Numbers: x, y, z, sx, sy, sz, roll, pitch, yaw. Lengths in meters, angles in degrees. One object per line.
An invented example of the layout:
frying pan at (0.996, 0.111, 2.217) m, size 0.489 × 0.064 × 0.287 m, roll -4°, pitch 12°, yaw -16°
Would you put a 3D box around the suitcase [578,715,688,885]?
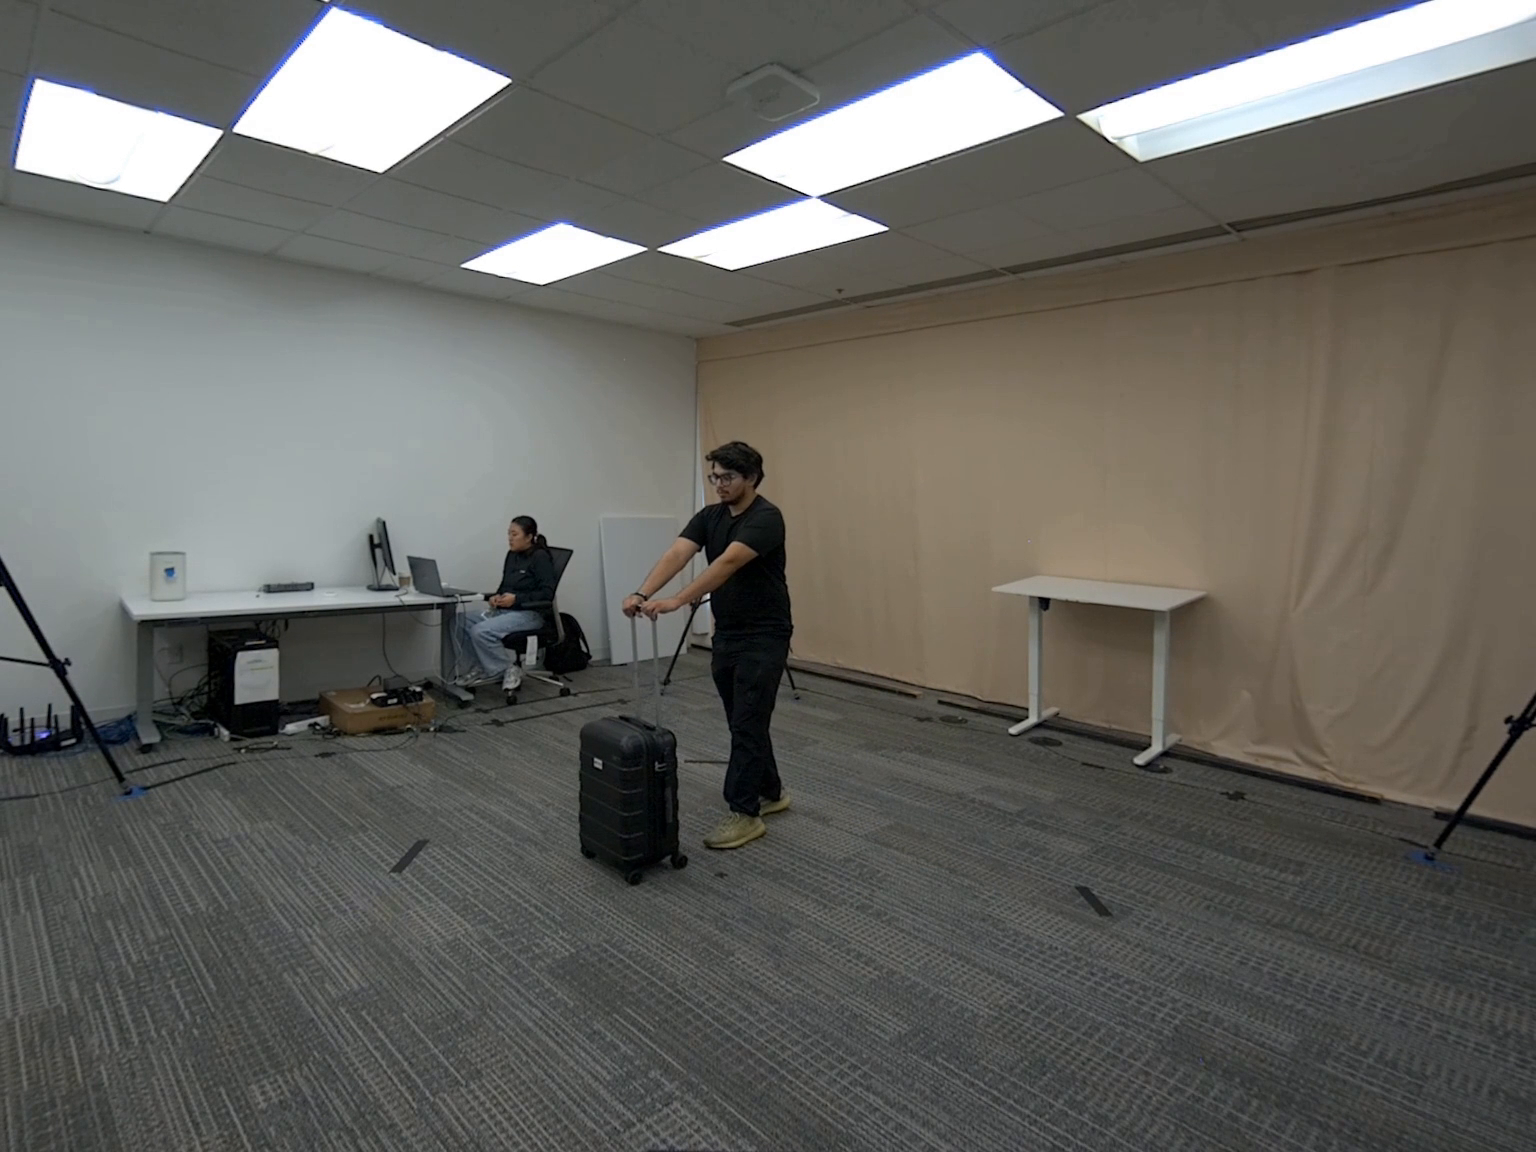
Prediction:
suitcase at (-0.537, 0.618, 3.141) m, size 0.252 × 0.974 × 0.394 m, roll -8°, pitch 8°, yaw -43°
